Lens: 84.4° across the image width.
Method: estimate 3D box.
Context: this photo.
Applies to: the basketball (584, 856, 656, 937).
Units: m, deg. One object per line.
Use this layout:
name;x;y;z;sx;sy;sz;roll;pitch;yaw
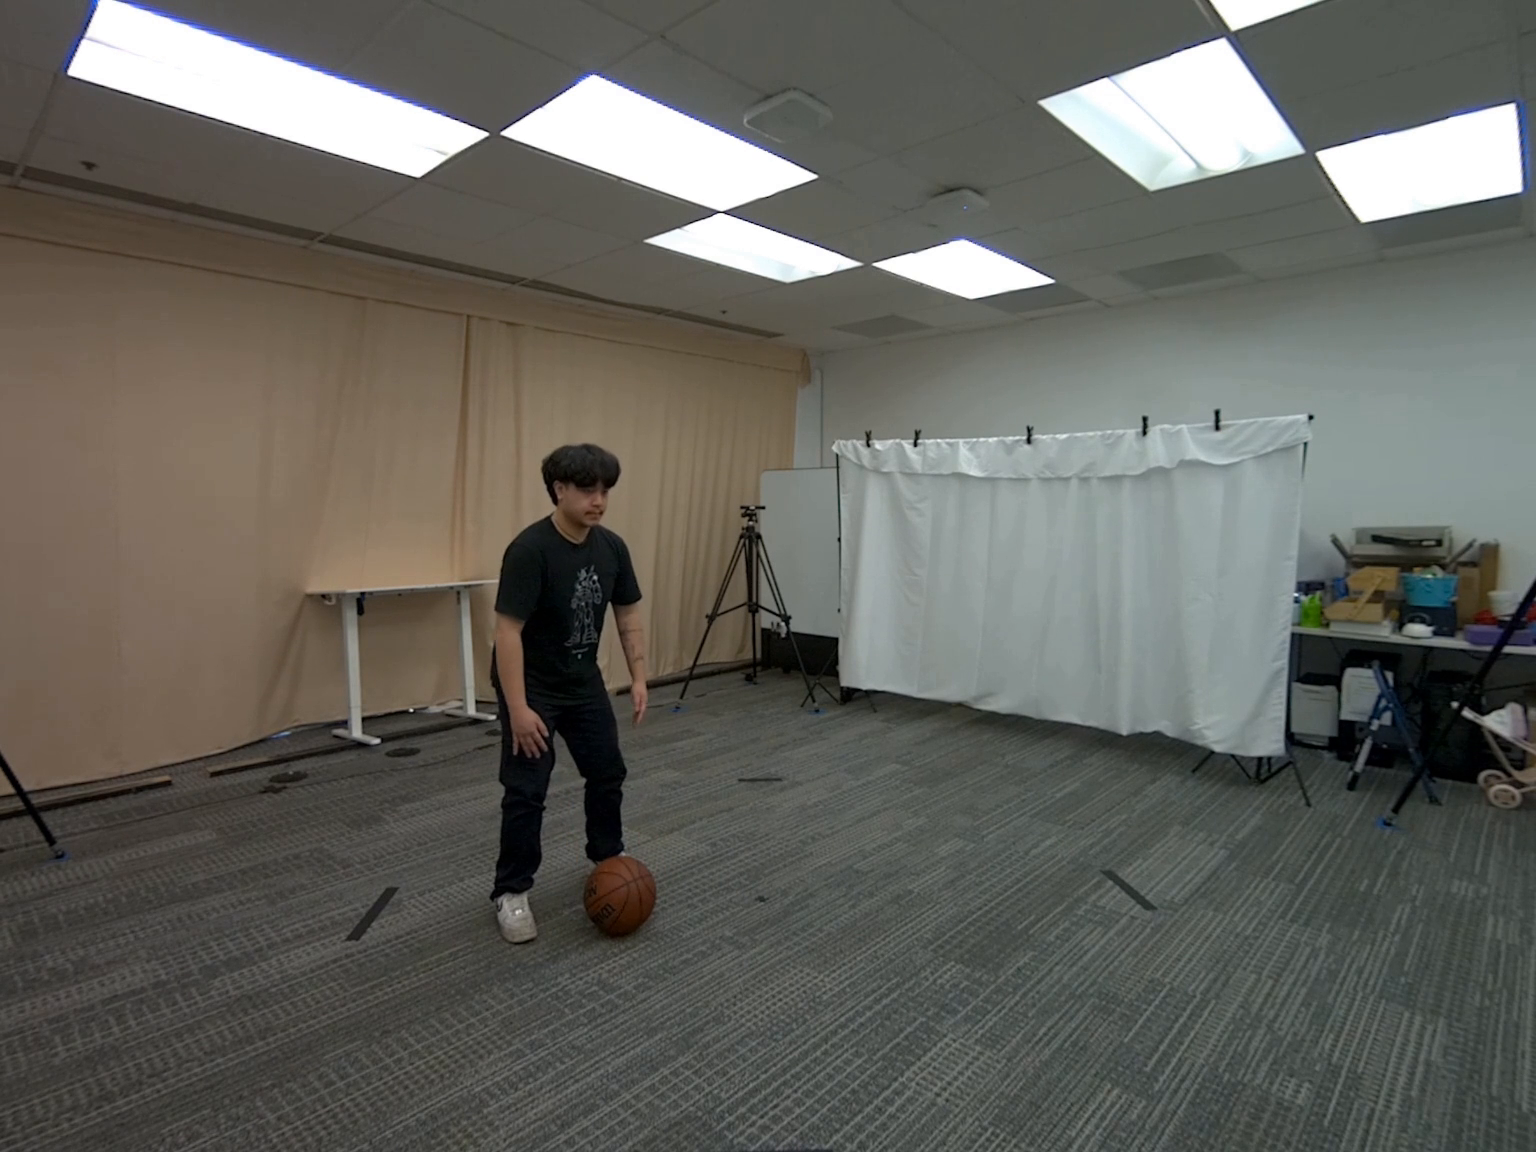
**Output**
basketball;-0.486;1.045;2.765;0.236;0.235;0.237;0;4;-2
